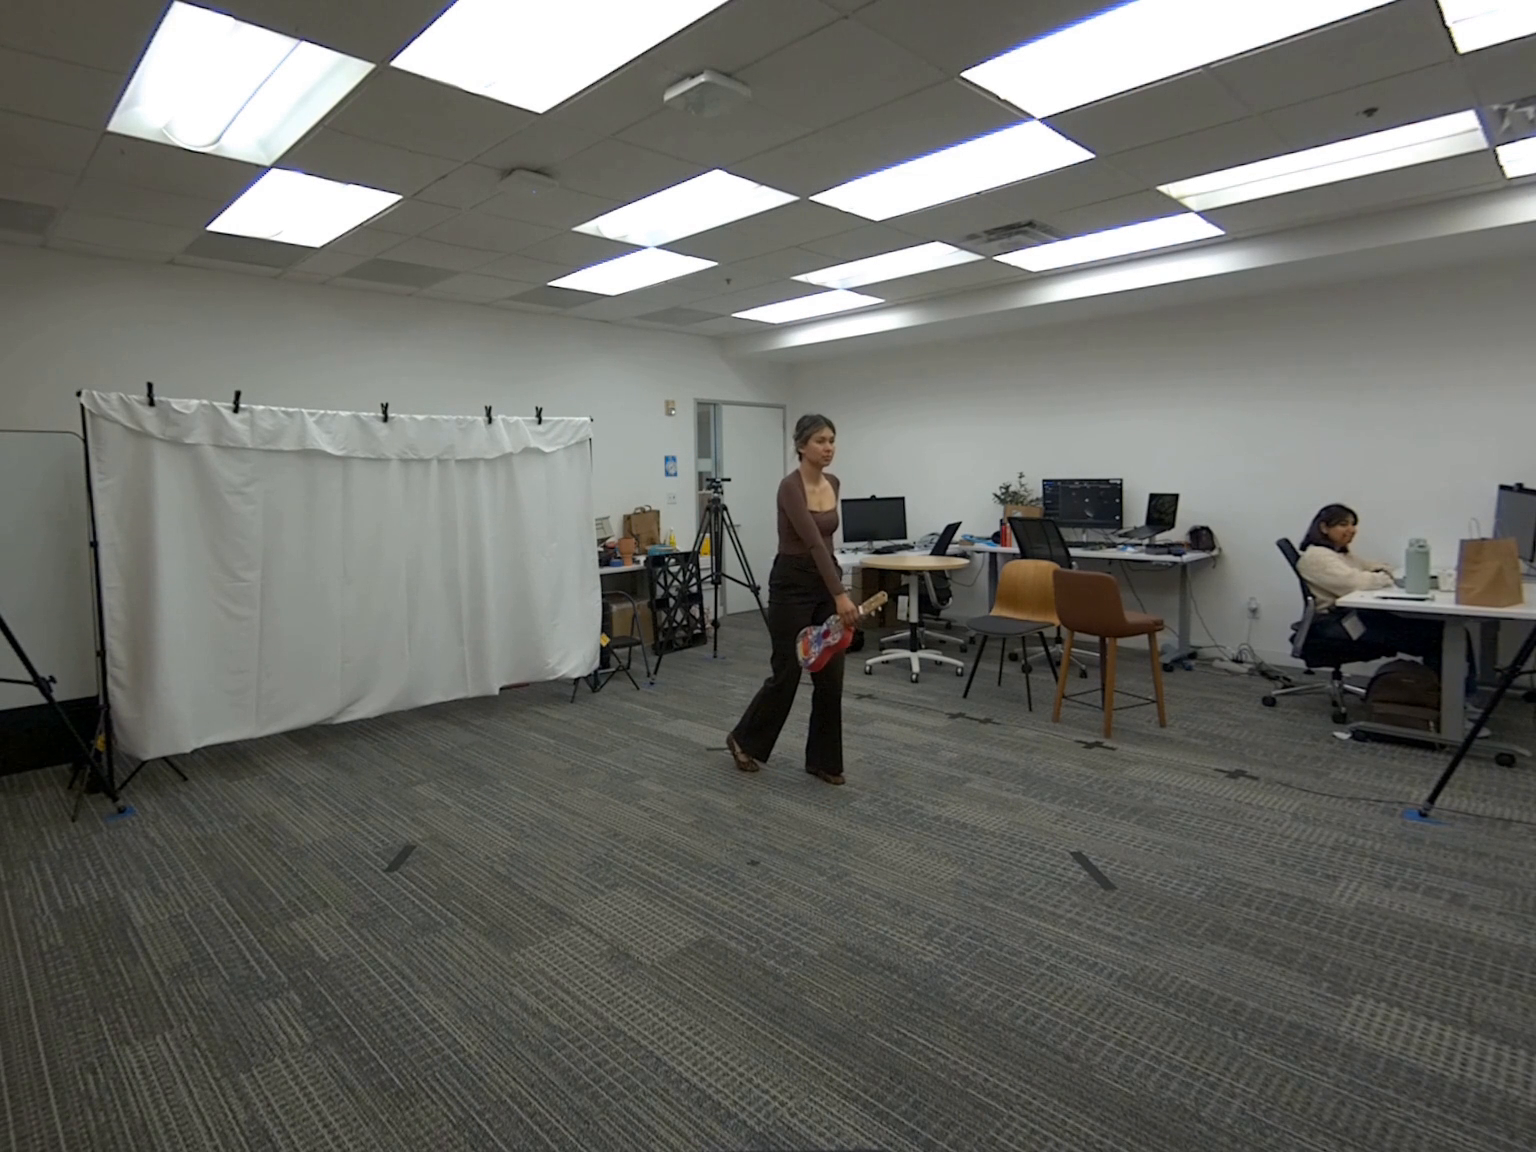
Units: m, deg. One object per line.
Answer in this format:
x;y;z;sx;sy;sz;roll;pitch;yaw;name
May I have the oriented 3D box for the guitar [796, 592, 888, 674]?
0.311;0.243;3.536;0.068;0.198;0.503;31;-44;-32;guitar
